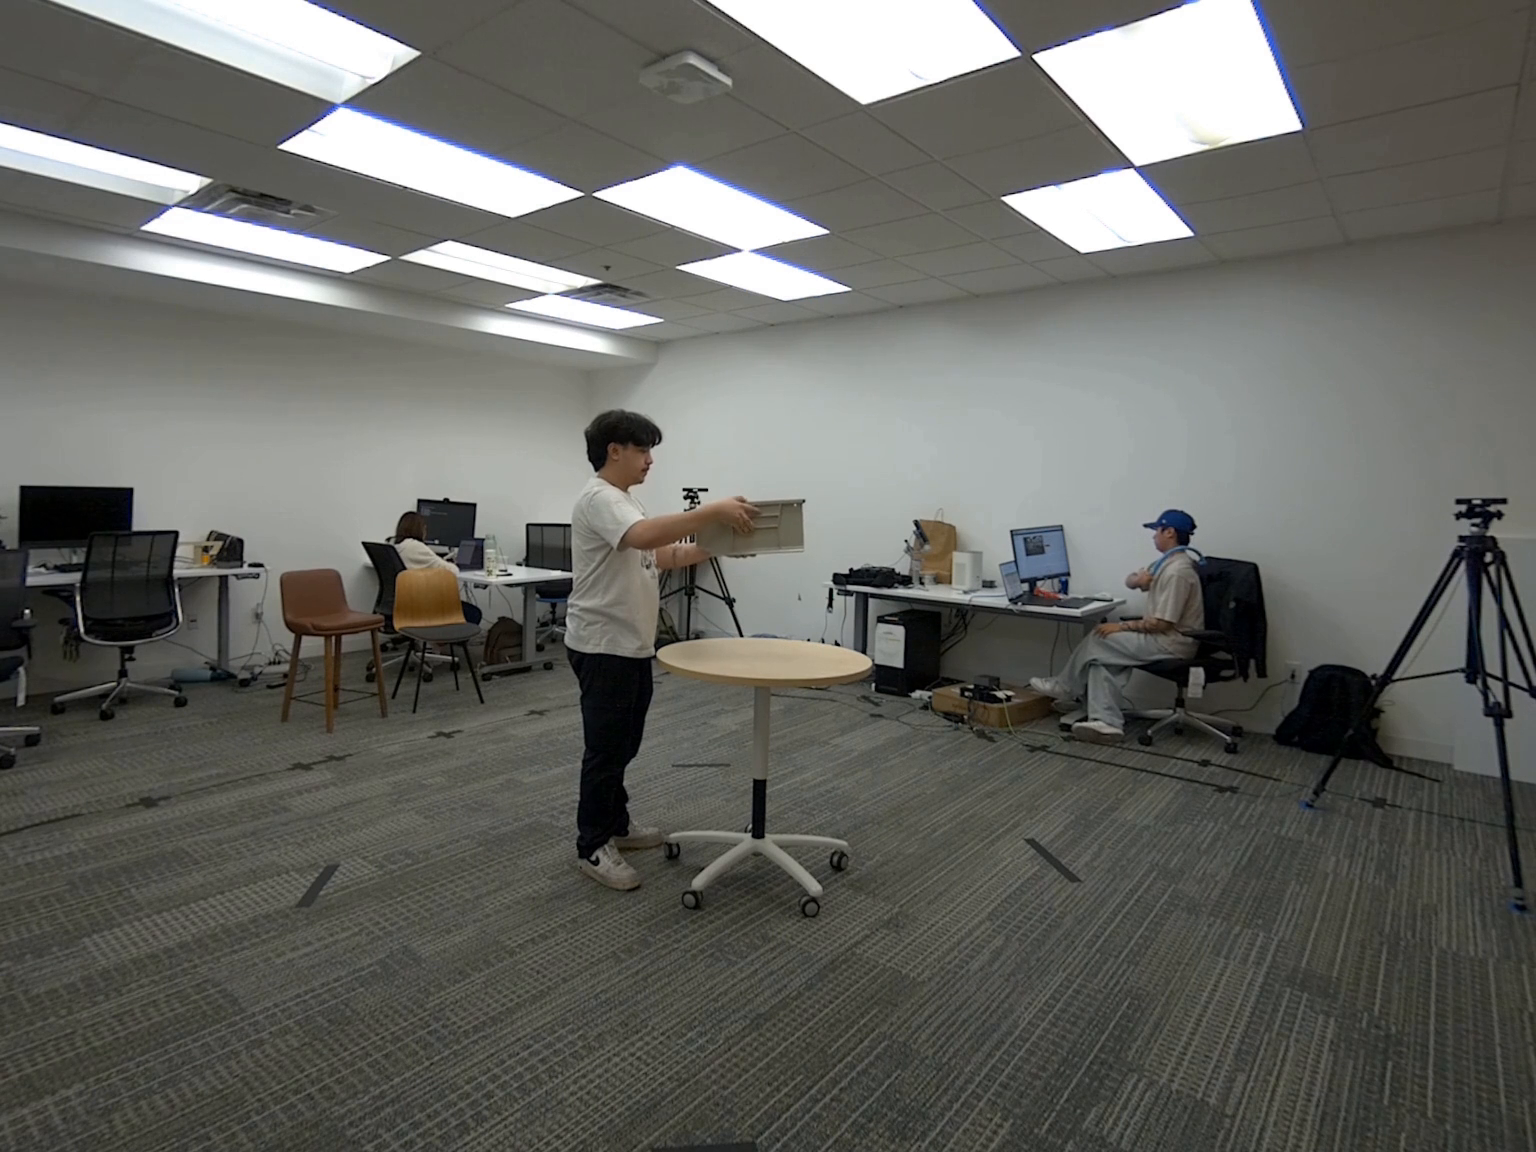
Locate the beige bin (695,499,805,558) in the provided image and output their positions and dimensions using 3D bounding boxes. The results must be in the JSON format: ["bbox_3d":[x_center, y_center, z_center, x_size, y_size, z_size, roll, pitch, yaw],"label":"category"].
[{"bbox_3d":[-0.084,-0.177,3.073,0.377,0.189,0.422,0,1,-2],"label":"beige bin"}]
